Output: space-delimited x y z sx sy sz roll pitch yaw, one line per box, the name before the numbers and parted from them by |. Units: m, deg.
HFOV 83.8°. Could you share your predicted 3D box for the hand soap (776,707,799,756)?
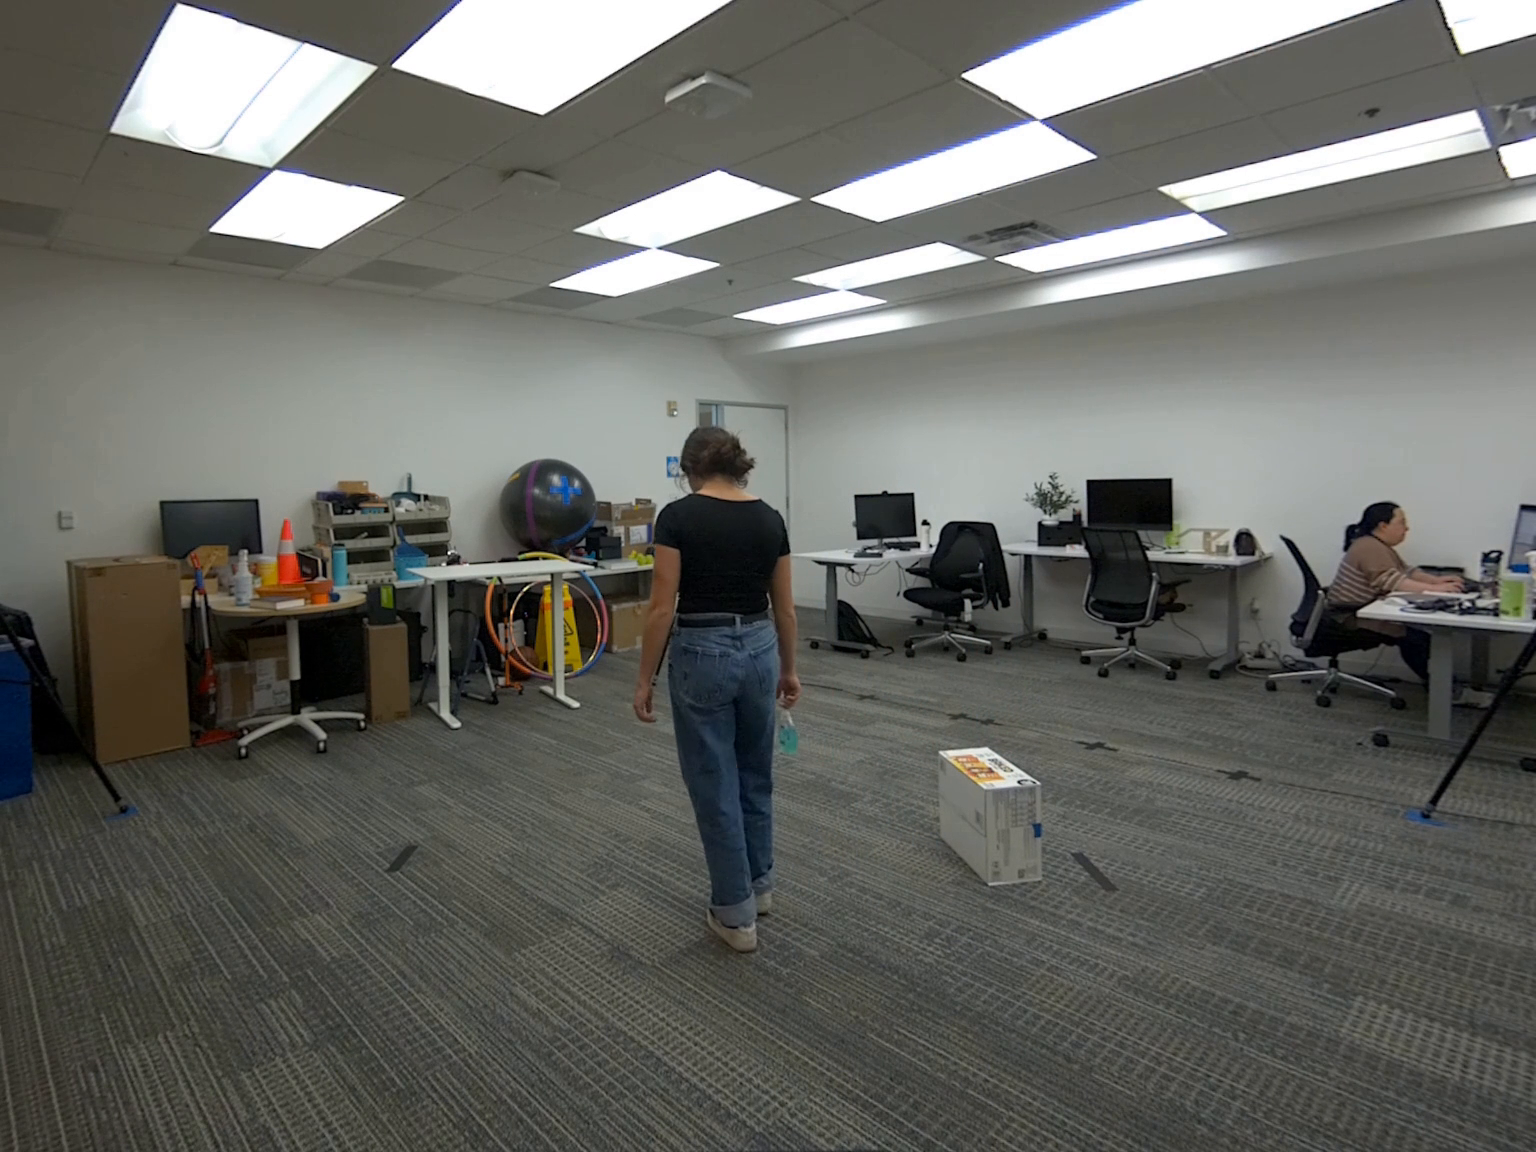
hand soap | 0.061 0.493 2.779 0.042 0.168 0.087 -8 4 -40
